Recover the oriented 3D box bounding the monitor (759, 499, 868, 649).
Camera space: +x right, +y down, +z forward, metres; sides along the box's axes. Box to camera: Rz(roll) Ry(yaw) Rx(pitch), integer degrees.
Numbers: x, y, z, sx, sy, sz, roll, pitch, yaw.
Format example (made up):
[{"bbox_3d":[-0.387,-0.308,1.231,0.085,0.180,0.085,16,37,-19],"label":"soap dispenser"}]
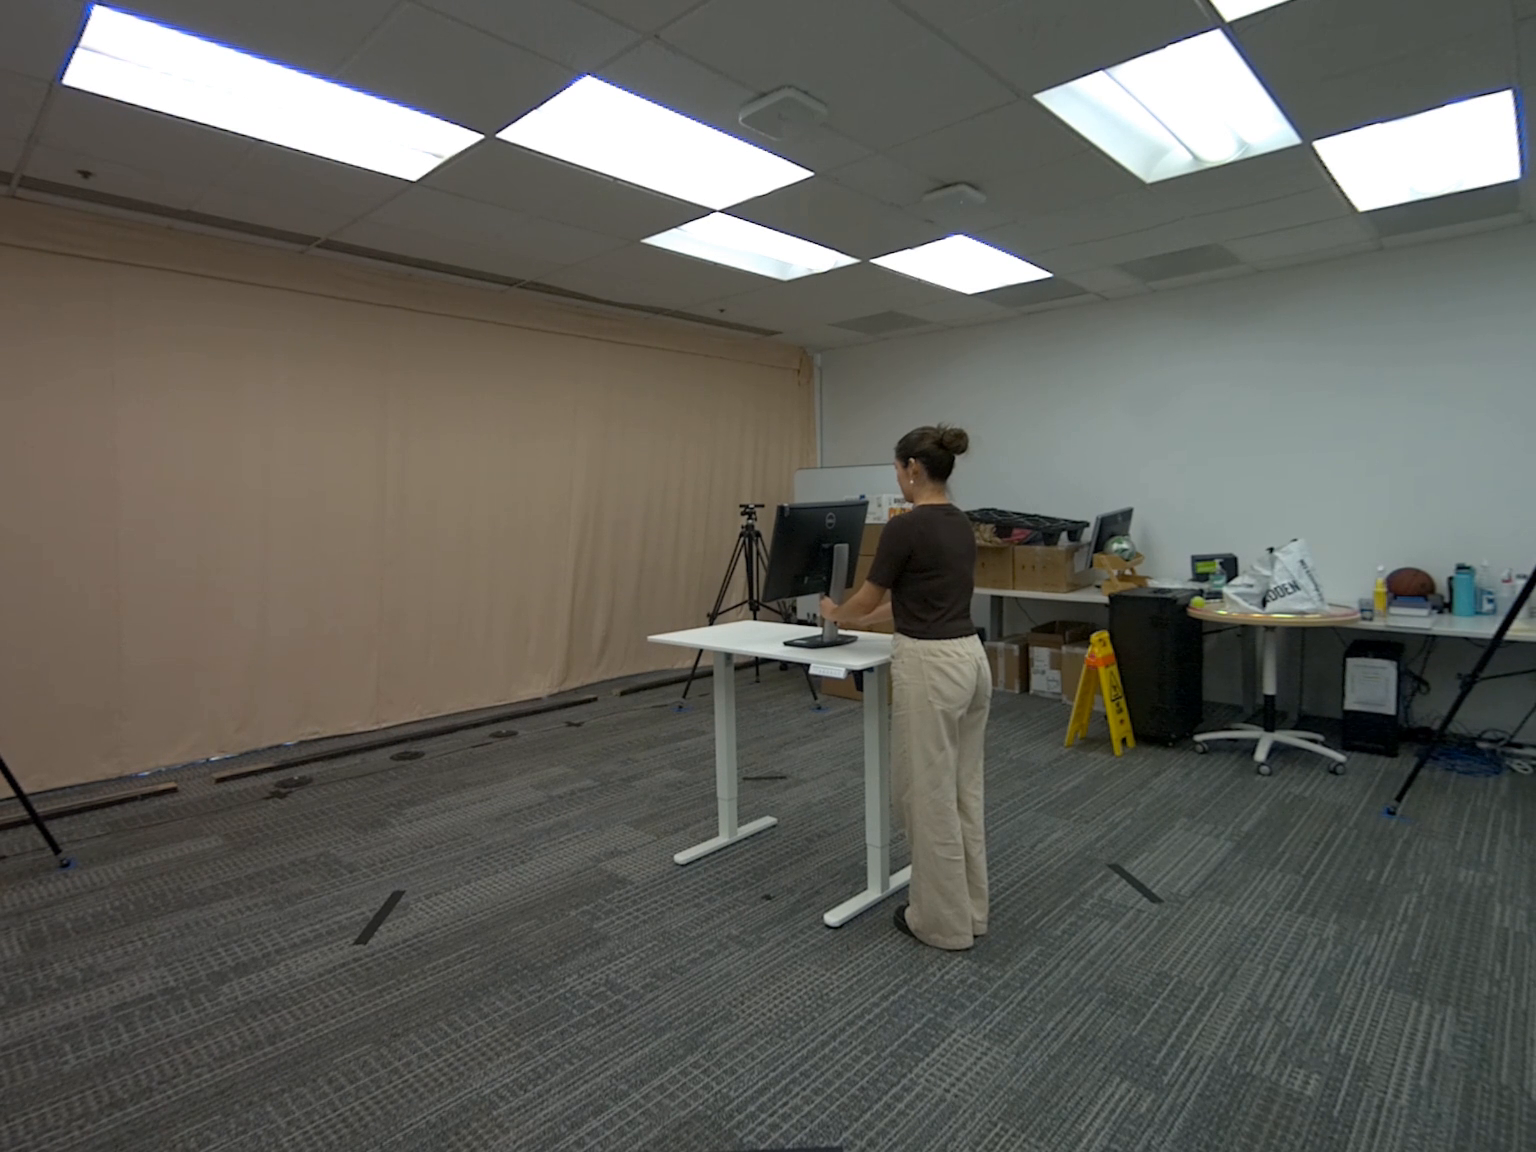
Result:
[{"bbox_3d":[0.200,-0.012,3.069,0.180,0.515,0.514,-3,3,43],"label":"monitor"}]
